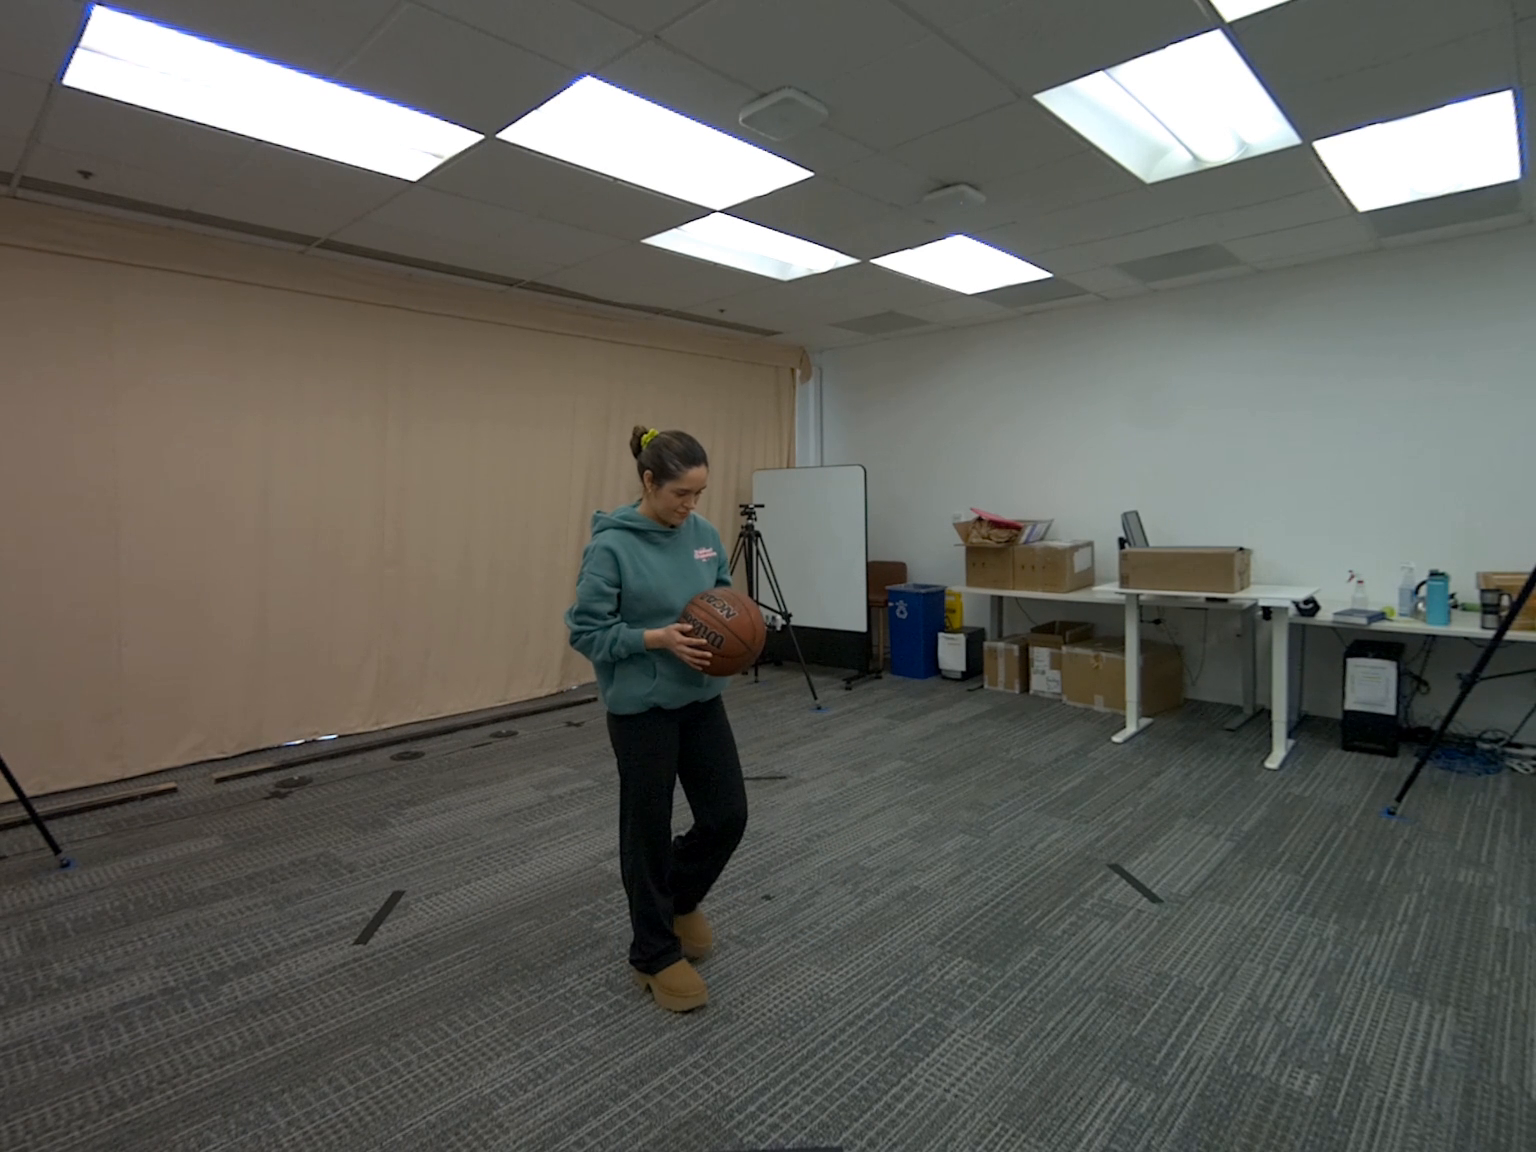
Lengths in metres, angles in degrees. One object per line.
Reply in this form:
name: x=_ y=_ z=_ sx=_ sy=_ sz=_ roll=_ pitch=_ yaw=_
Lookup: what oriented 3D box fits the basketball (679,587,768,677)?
basketball: x=-0.117 y=0.147 z=2.236 sx=0.236 sy=0.235 sz=0.237 roll=-1 pitch=4 yaw=-2
